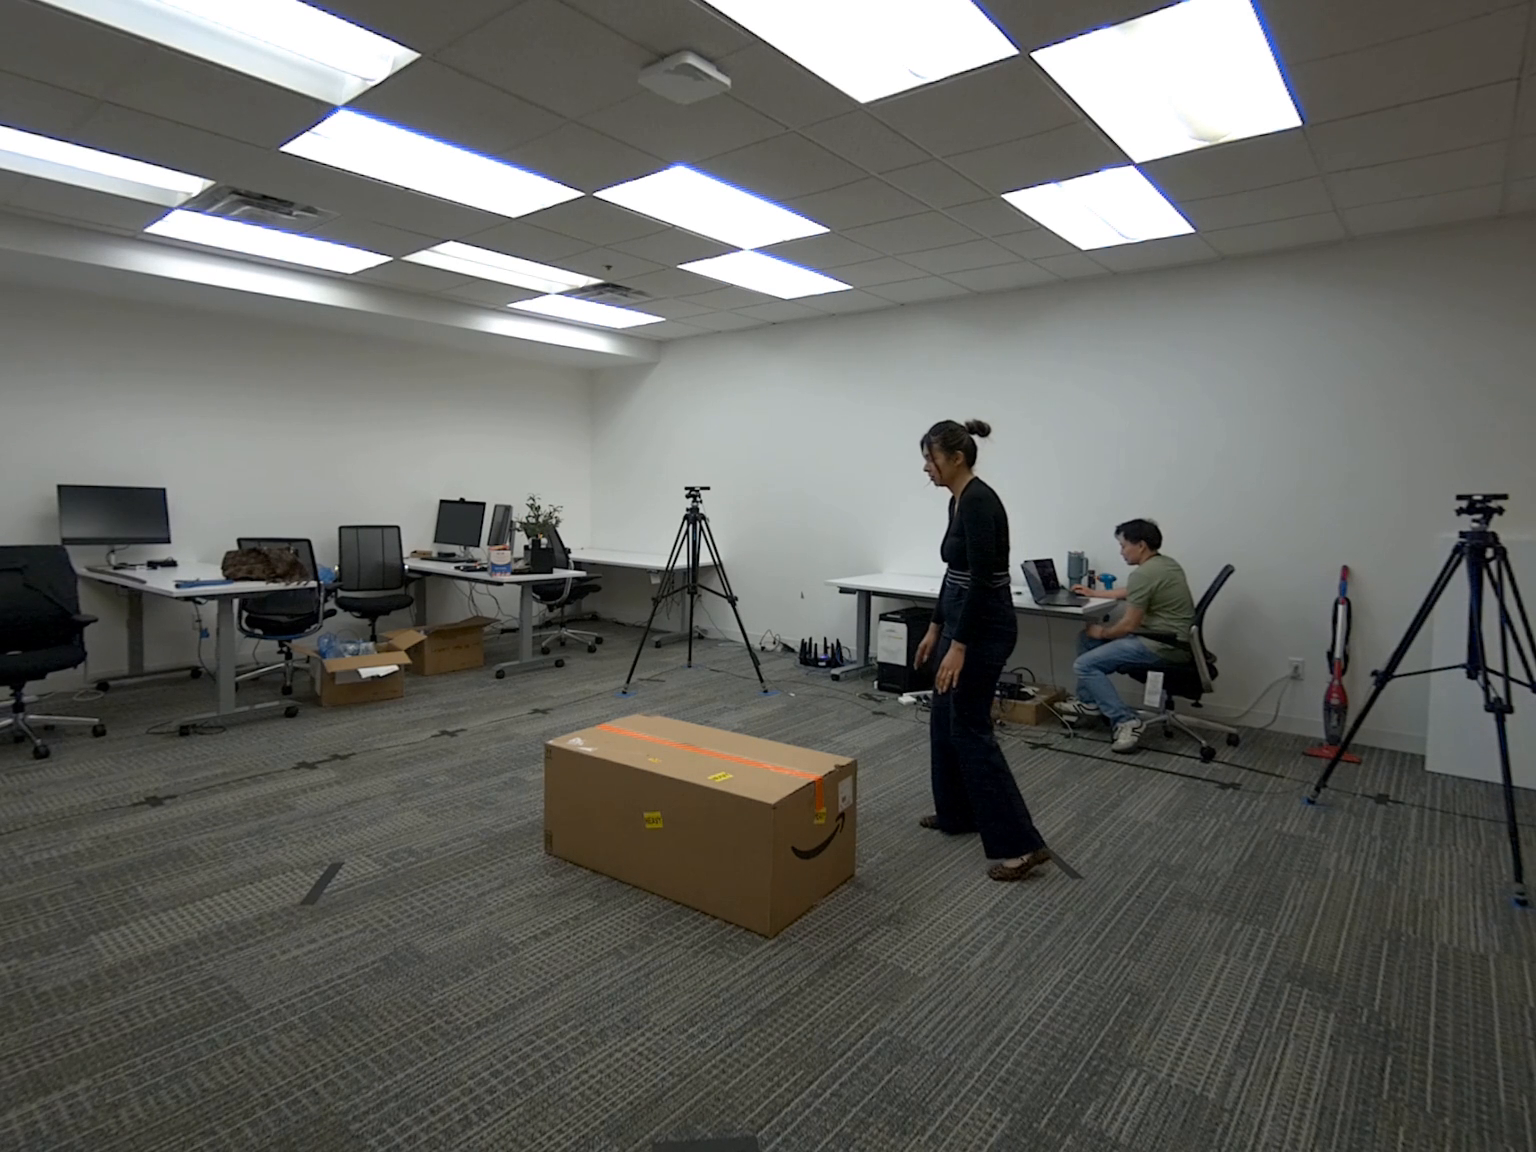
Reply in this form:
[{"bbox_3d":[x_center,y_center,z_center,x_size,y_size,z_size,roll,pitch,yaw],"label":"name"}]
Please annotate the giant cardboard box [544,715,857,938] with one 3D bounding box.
[{"bbox_3d":[-0.272,0.846,3.135,1.058,0.425,0.561,4,5,34],"label":"giant cardboard box"}]
